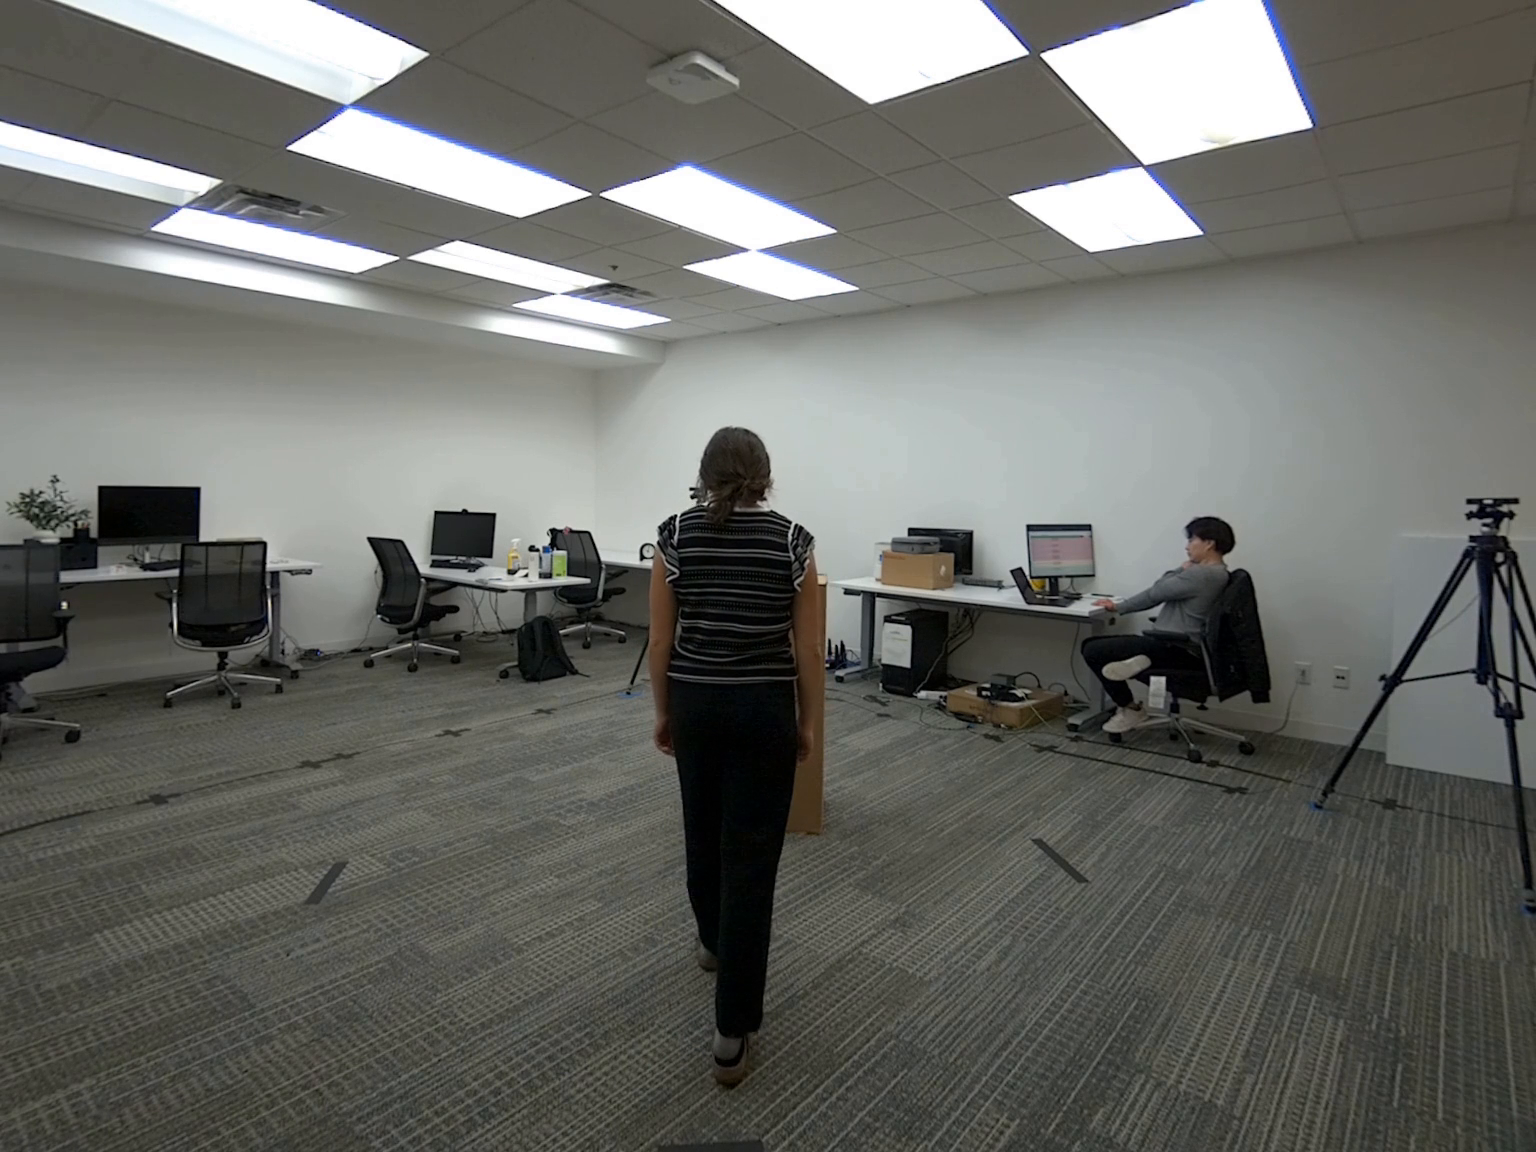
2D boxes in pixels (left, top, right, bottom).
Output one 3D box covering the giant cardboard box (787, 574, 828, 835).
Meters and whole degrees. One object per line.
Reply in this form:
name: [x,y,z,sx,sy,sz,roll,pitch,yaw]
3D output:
giant cardboard box: [-0.051,0.503,3.658,0.582,1.023,0.424,1,3,6]
